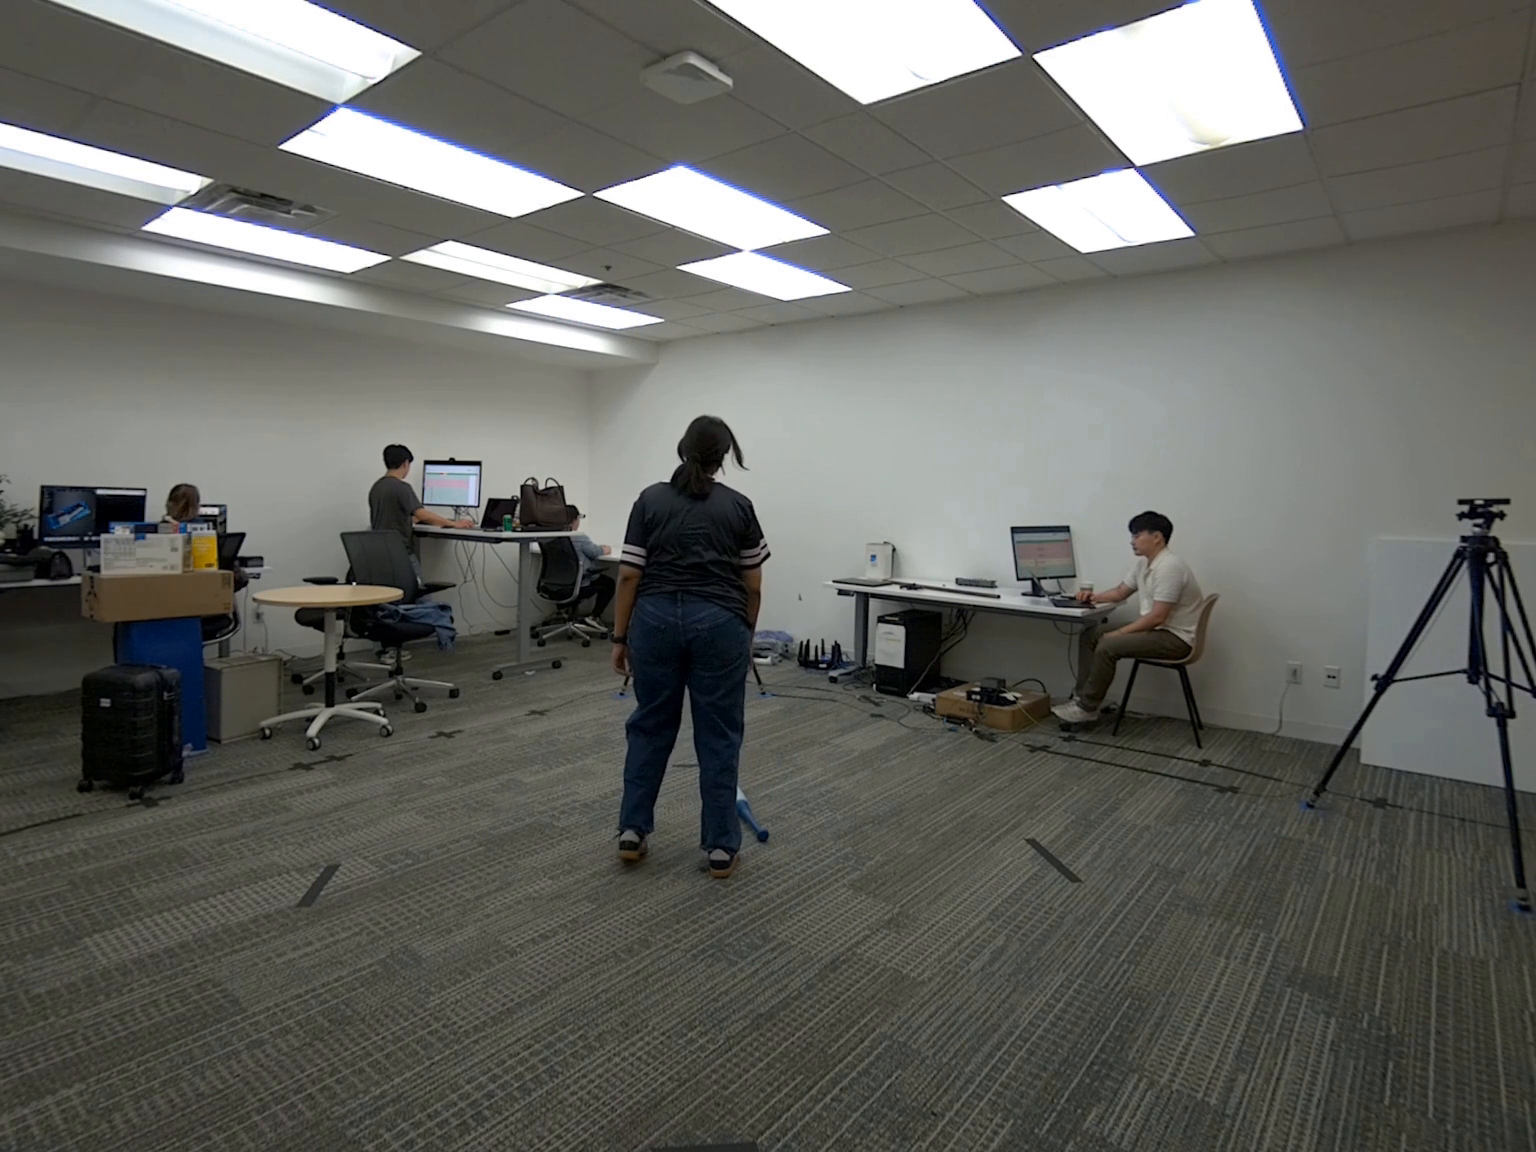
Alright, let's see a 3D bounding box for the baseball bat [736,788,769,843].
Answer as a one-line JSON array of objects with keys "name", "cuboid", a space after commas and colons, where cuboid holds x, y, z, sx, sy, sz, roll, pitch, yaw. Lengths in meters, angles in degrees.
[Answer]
[{"name": "baseball bat", "cuboid": [-0.119, 0.988, 3.611, 0.087, 0.088, 0.556, 0, 9, -18]}]
